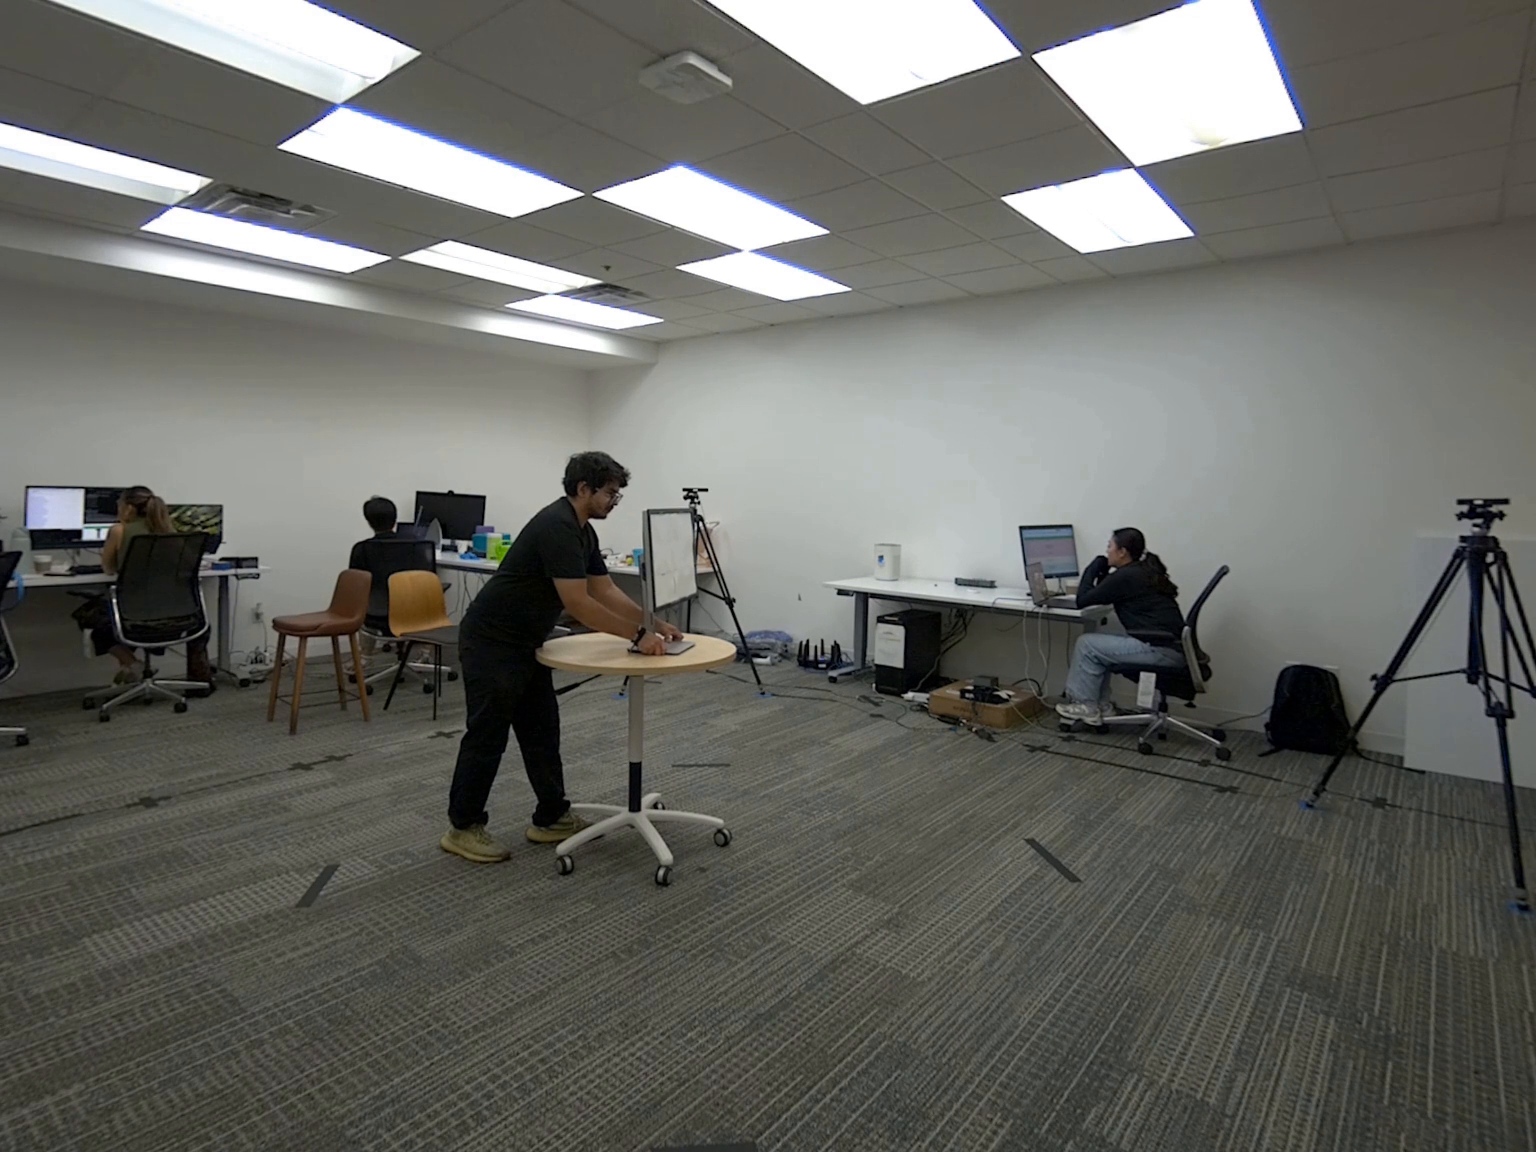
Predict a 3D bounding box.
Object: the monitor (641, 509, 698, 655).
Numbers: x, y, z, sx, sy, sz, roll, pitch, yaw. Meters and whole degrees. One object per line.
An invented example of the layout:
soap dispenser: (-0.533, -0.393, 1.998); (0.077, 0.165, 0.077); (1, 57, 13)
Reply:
monitor: (-0.439, 0.012, 3.251); (0.213, 0.552, 0.559); (2, 4, 11)
